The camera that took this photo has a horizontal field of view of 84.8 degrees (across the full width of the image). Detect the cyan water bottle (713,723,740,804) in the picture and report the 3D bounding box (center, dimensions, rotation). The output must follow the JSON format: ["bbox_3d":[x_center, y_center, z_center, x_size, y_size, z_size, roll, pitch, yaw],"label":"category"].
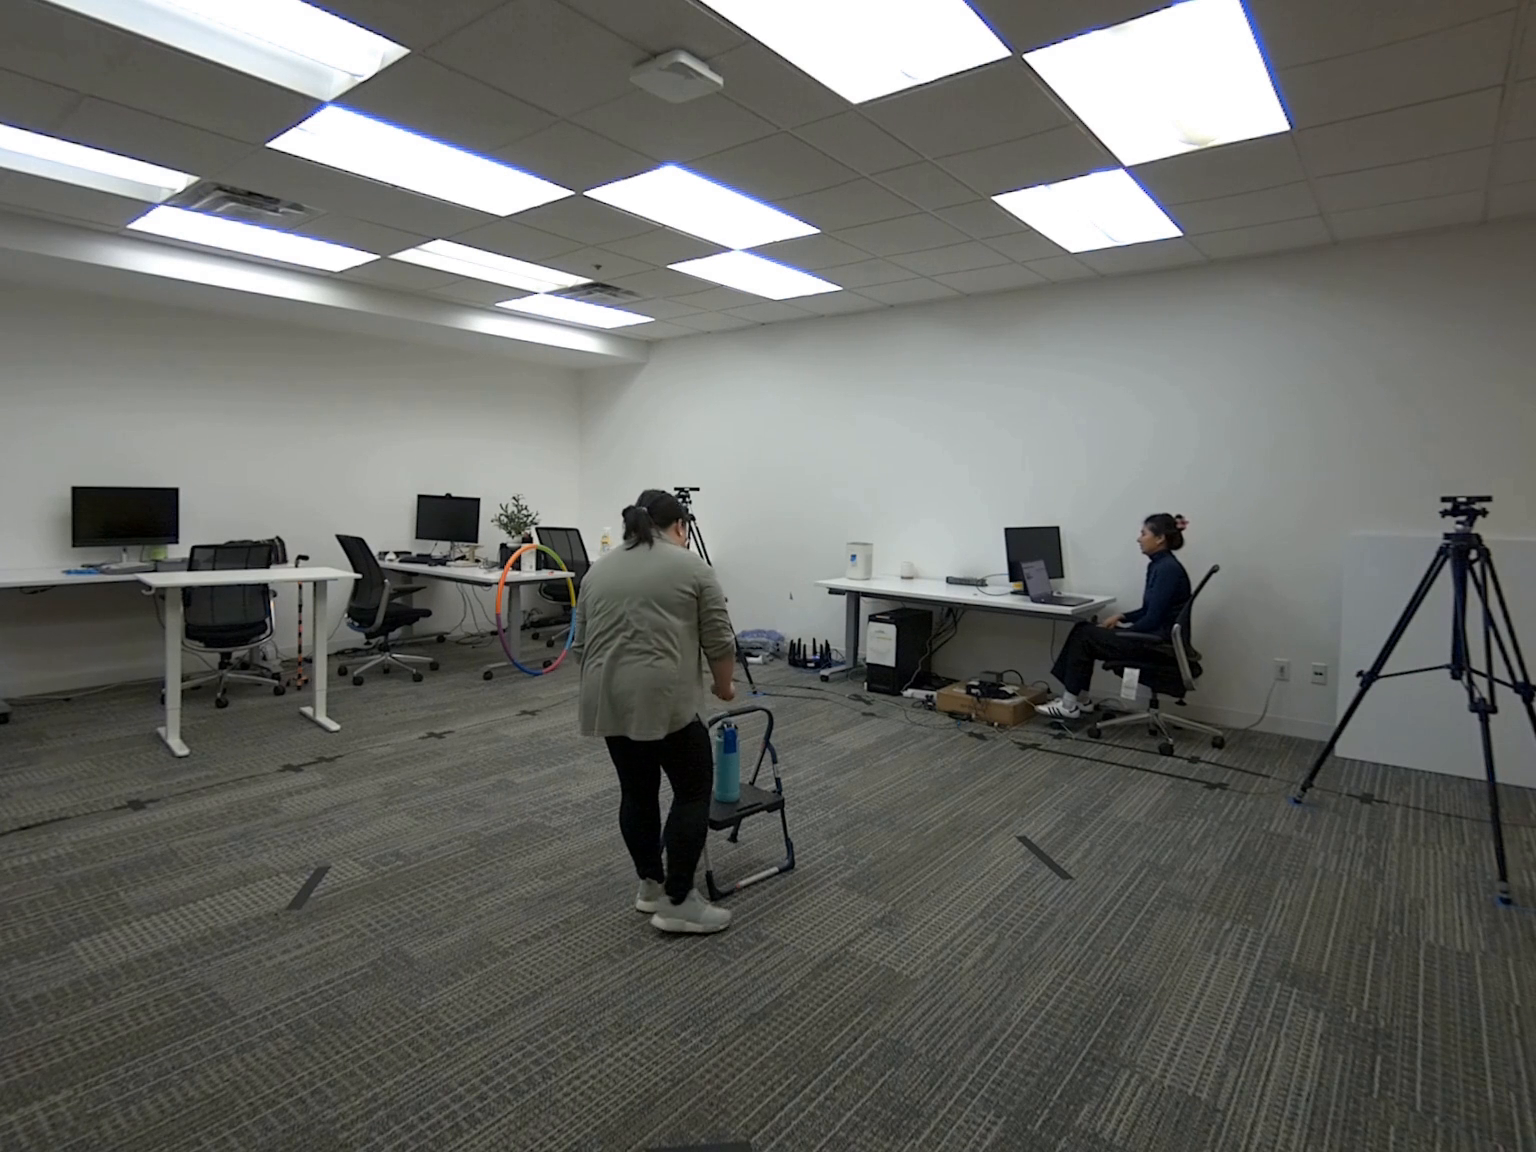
[{"bbox_3d":[-0.147,0.670,3.097,0.092,0.283,0.092,3,0,-2],"label":"cyan water bottle"}]
